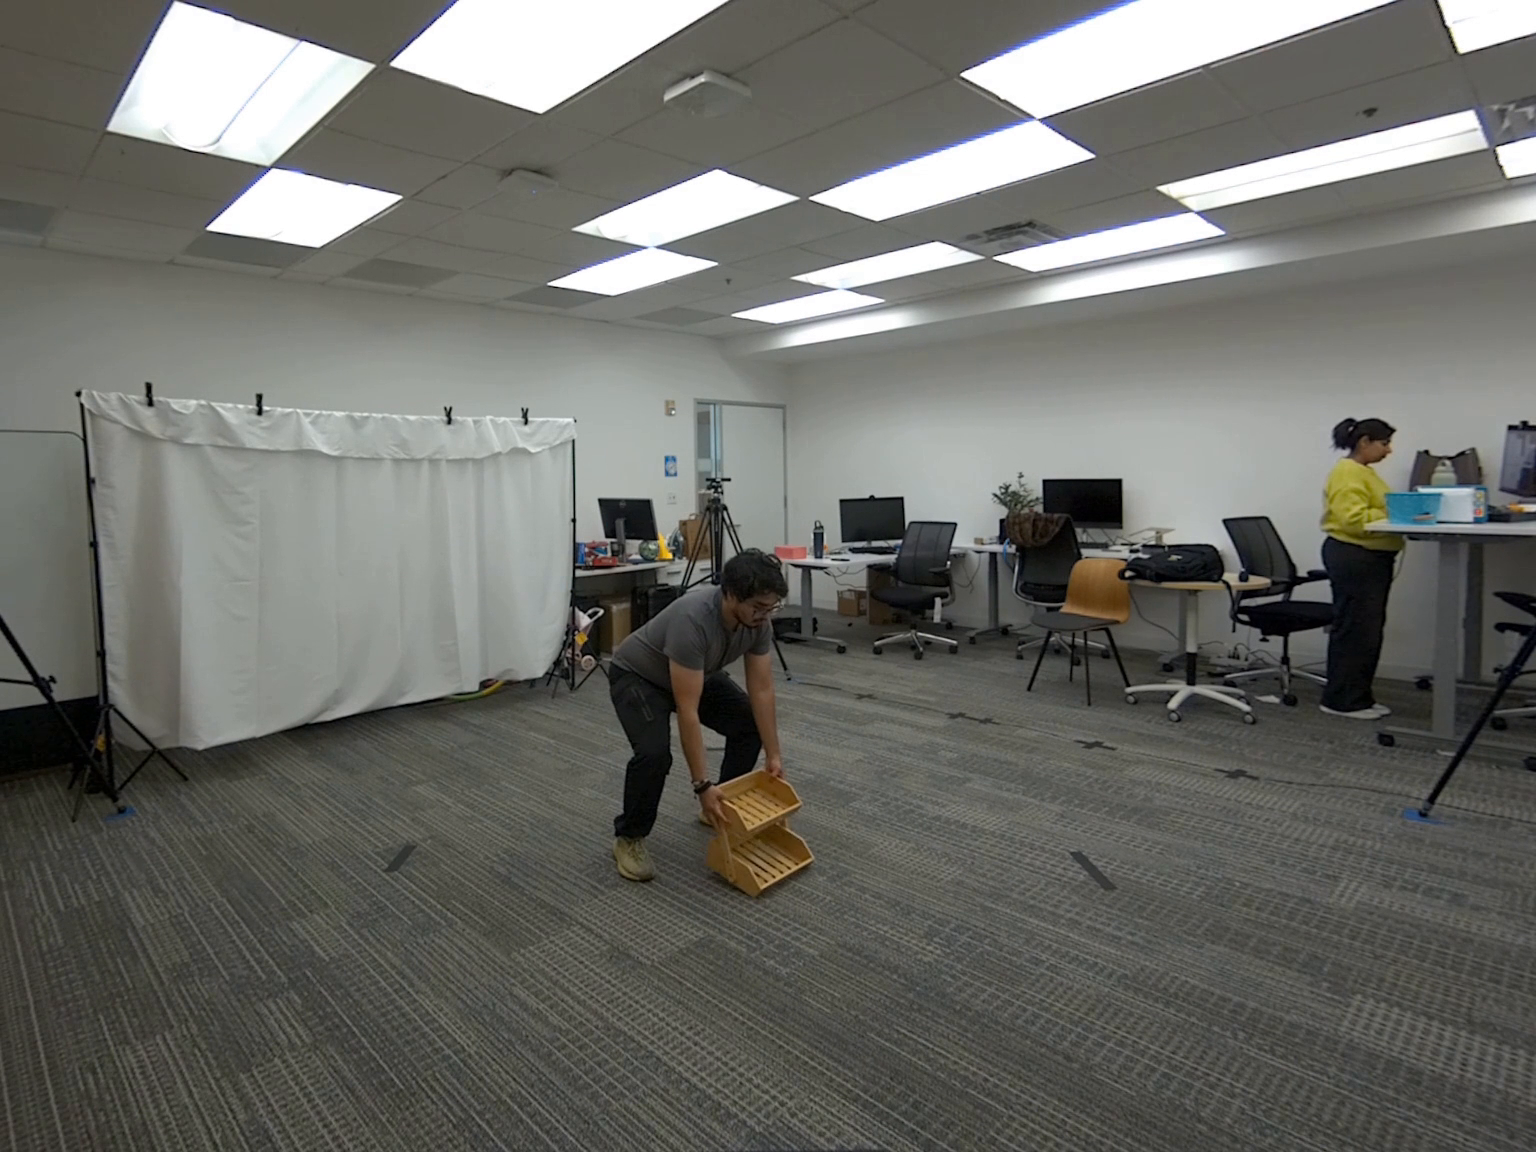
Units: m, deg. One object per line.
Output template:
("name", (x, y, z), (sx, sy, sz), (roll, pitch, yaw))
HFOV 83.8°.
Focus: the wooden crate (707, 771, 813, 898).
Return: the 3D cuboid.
("wooden crate", (-0.028, 0.897, 3.010), (0.313, 0.271, 0.316), (18, 16, 38))
